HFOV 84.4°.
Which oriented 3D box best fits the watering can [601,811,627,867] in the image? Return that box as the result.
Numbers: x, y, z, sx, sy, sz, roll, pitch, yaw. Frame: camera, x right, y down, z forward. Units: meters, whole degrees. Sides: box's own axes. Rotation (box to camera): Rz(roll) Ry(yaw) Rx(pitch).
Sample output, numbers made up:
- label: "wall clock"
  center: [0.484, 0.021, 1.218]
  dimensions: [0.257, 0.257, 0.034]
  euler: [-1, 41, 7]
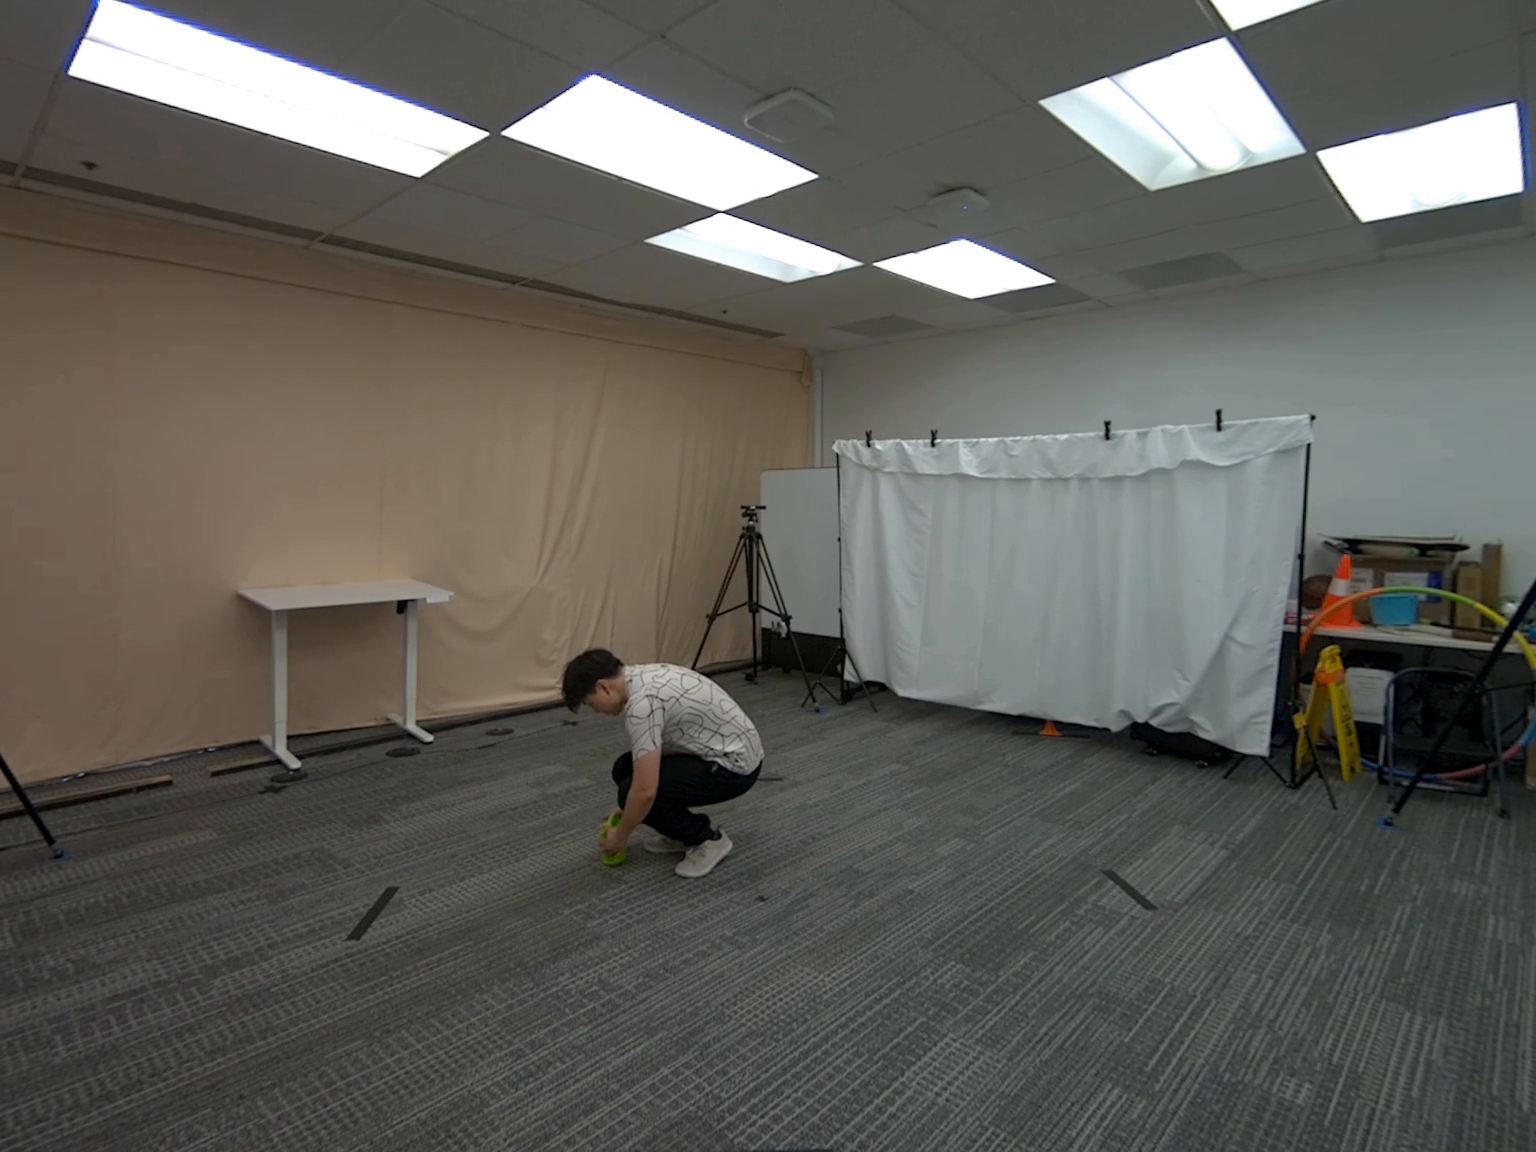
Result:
- label: "watering can"
  center: [-0.620, 1.018, 3.273]
  dimensions: [0.099, 0.176, 0.275]
  euler: [-1, 5, 11]
